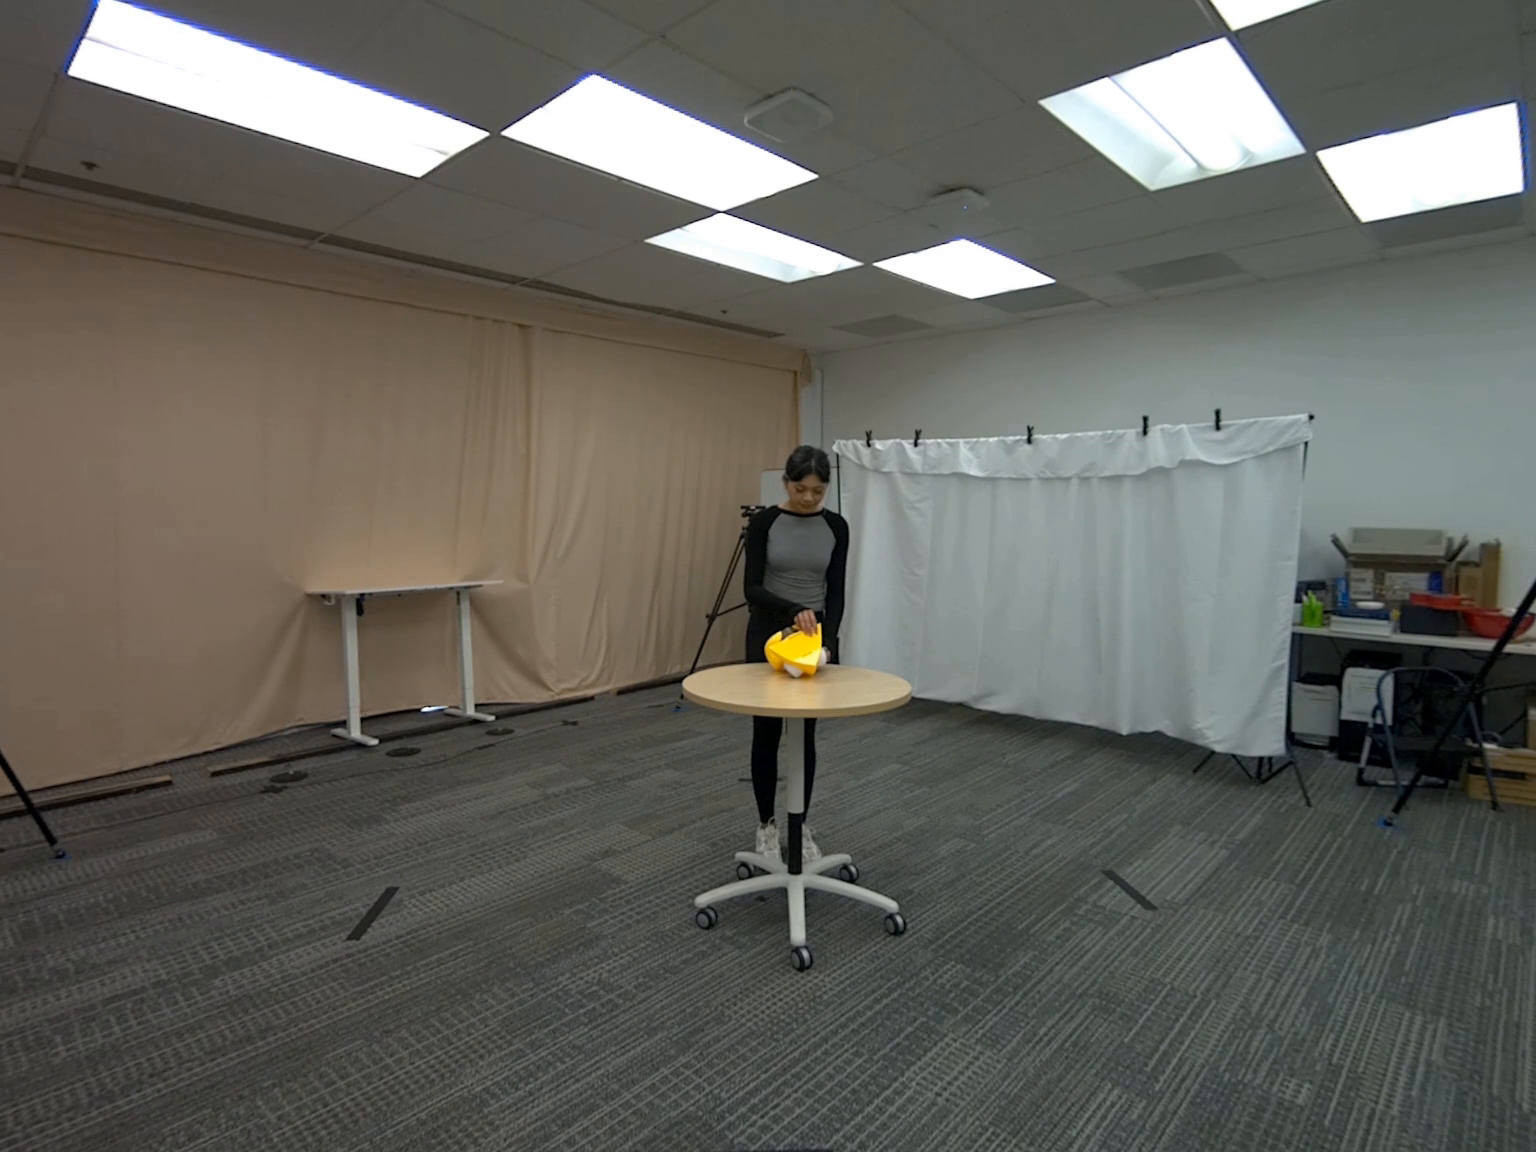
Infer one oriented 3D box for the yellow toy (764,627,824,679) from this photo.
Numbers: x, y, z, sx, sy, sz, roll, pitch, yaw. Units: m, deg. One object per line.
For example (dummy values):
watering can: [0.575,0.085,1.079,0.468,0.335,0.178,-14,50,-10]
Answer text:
yellow toy: [0.126,0.296,2.959,0.203,0.188,0.238,-26,33,-8]
